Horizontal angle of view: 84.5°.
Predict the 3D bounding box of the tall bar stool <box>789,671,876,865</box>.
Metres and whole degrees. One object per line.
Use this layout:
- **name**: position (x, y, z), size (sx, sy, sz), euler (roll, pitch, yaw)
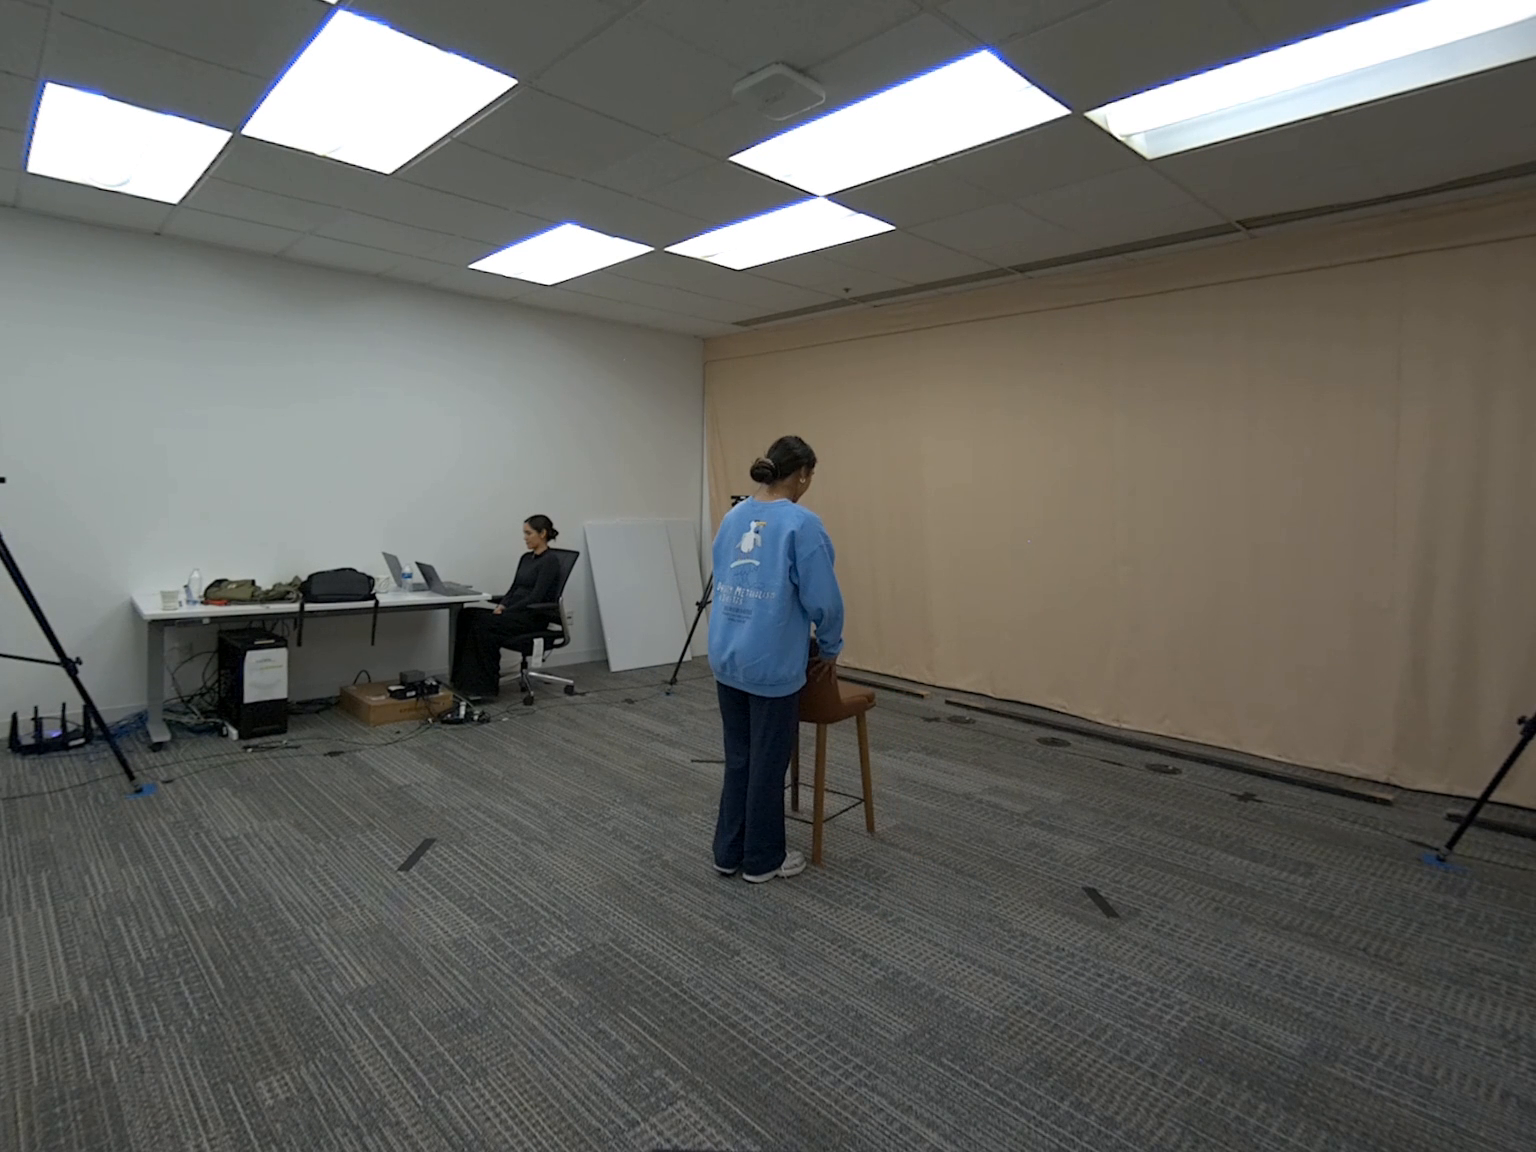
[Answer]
- **tall bar stool**: position (0.160, 0.641, 3.452), size (0.467, 0.886, 0.458), euler (3, 6, 36)
